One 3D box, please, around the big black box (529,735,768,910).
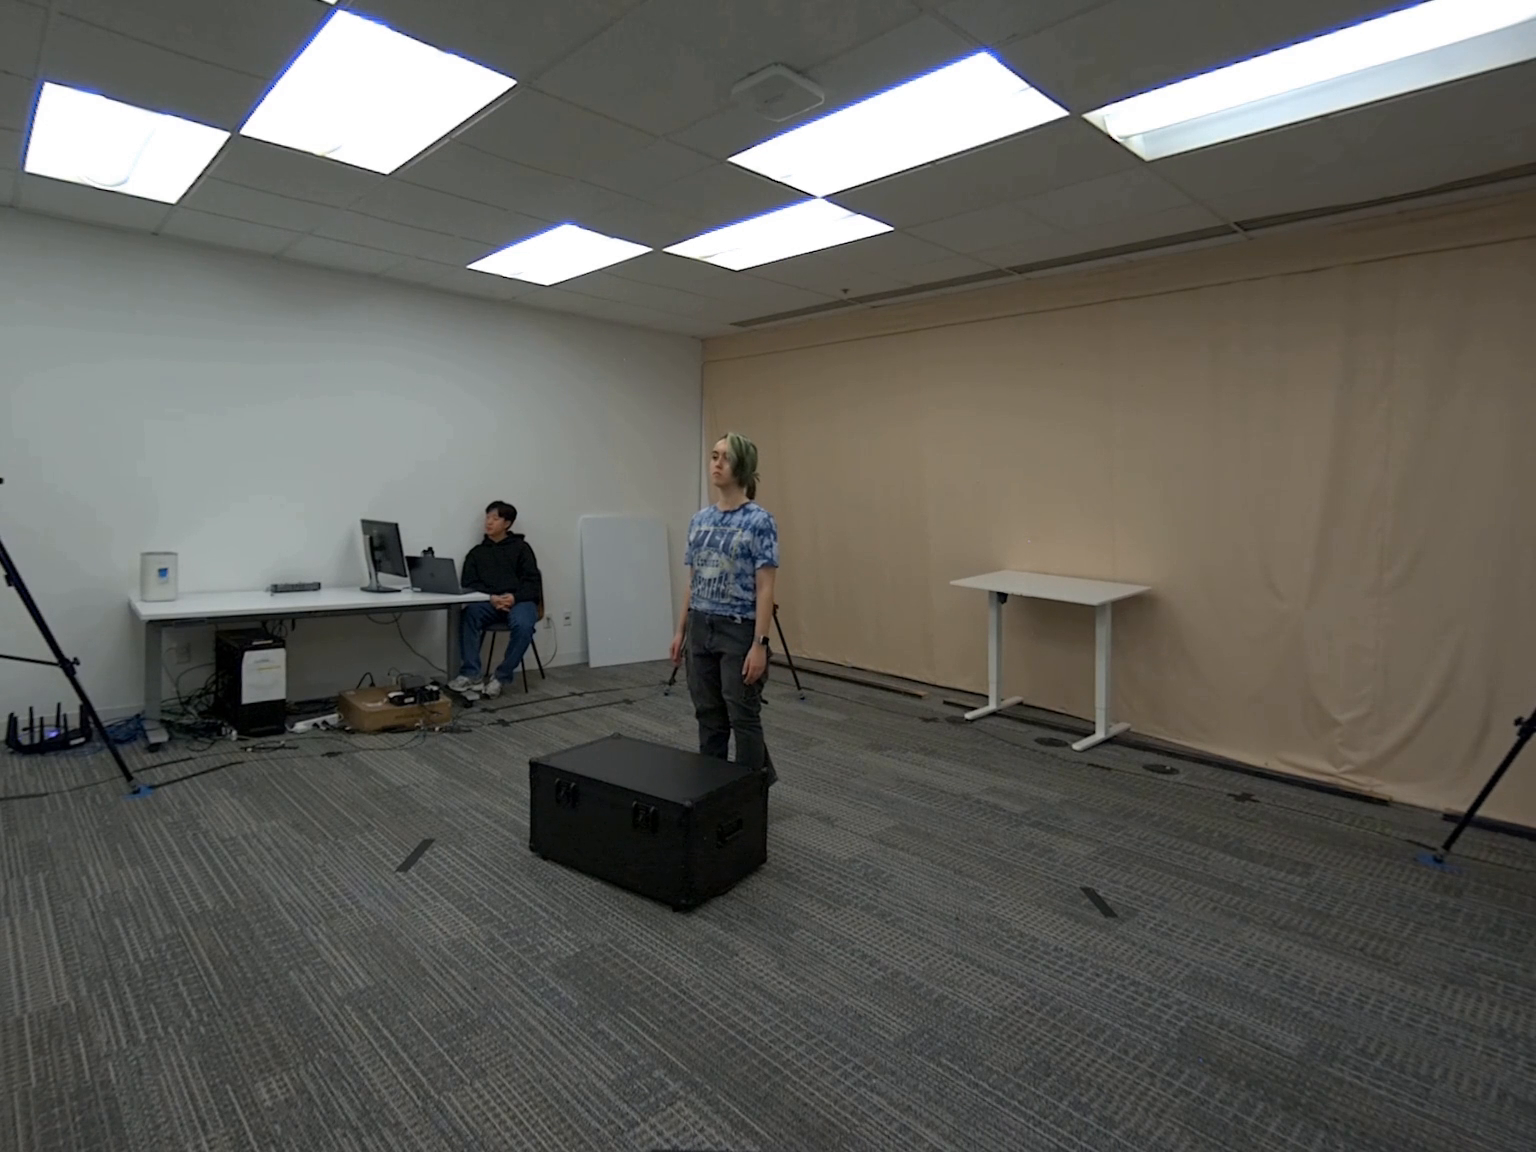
[{"bbox_3d":[-0.491,0.898,3.204,0.882,0.395,0.510,5,6,34],"label":"big black box"}]
